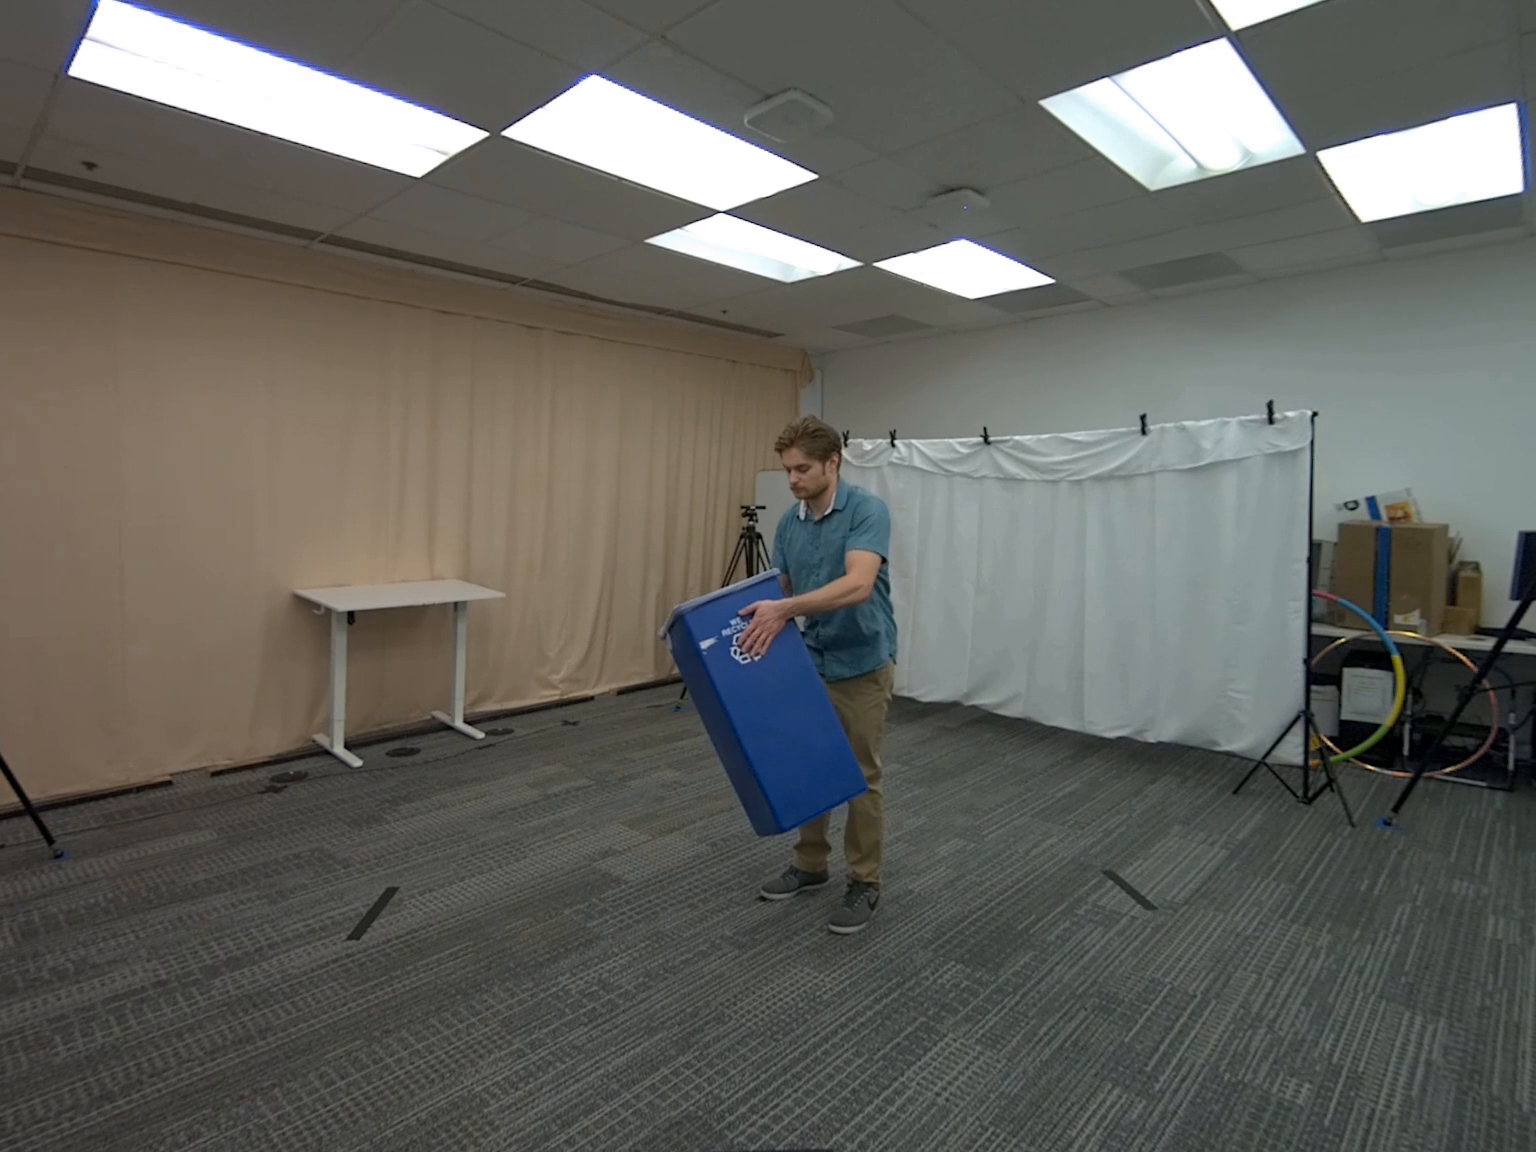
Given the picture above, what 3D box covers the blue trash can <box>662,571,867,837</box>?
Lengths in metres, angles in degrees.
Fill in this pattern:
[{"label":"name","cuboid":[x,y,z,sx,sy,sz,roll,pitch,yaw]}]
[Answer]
[{"label":"blue trash can","cuboid":[-0.017,0.419,2.625,0.372,0.723,0.375,-19,-14,-20]}]
